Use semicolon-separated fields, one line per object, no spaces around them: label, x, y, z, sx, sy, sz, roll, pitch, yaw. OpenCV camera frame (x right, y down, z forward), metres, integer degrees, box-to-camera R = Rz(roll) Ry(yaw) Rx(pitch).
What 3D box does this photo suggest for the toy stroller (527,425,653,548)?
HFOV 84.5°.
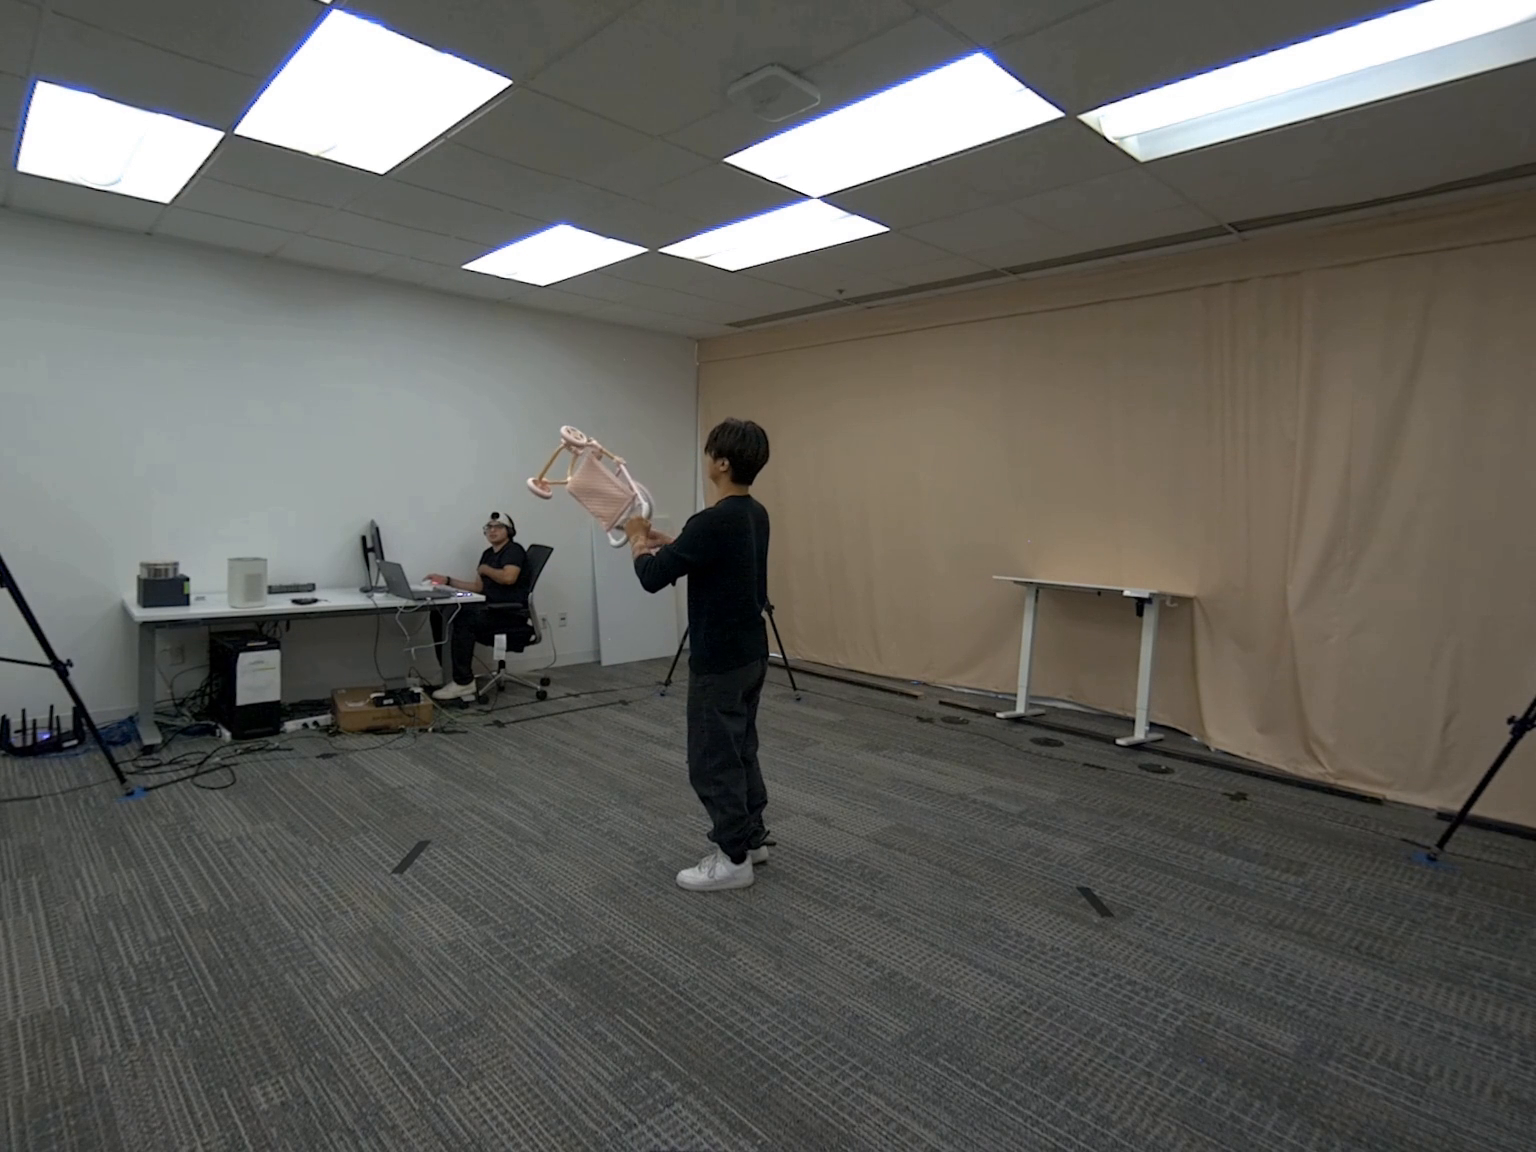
toy stroller;-0.644;-0.345;3.212;0.538;0.281;0.340;39;15;5
